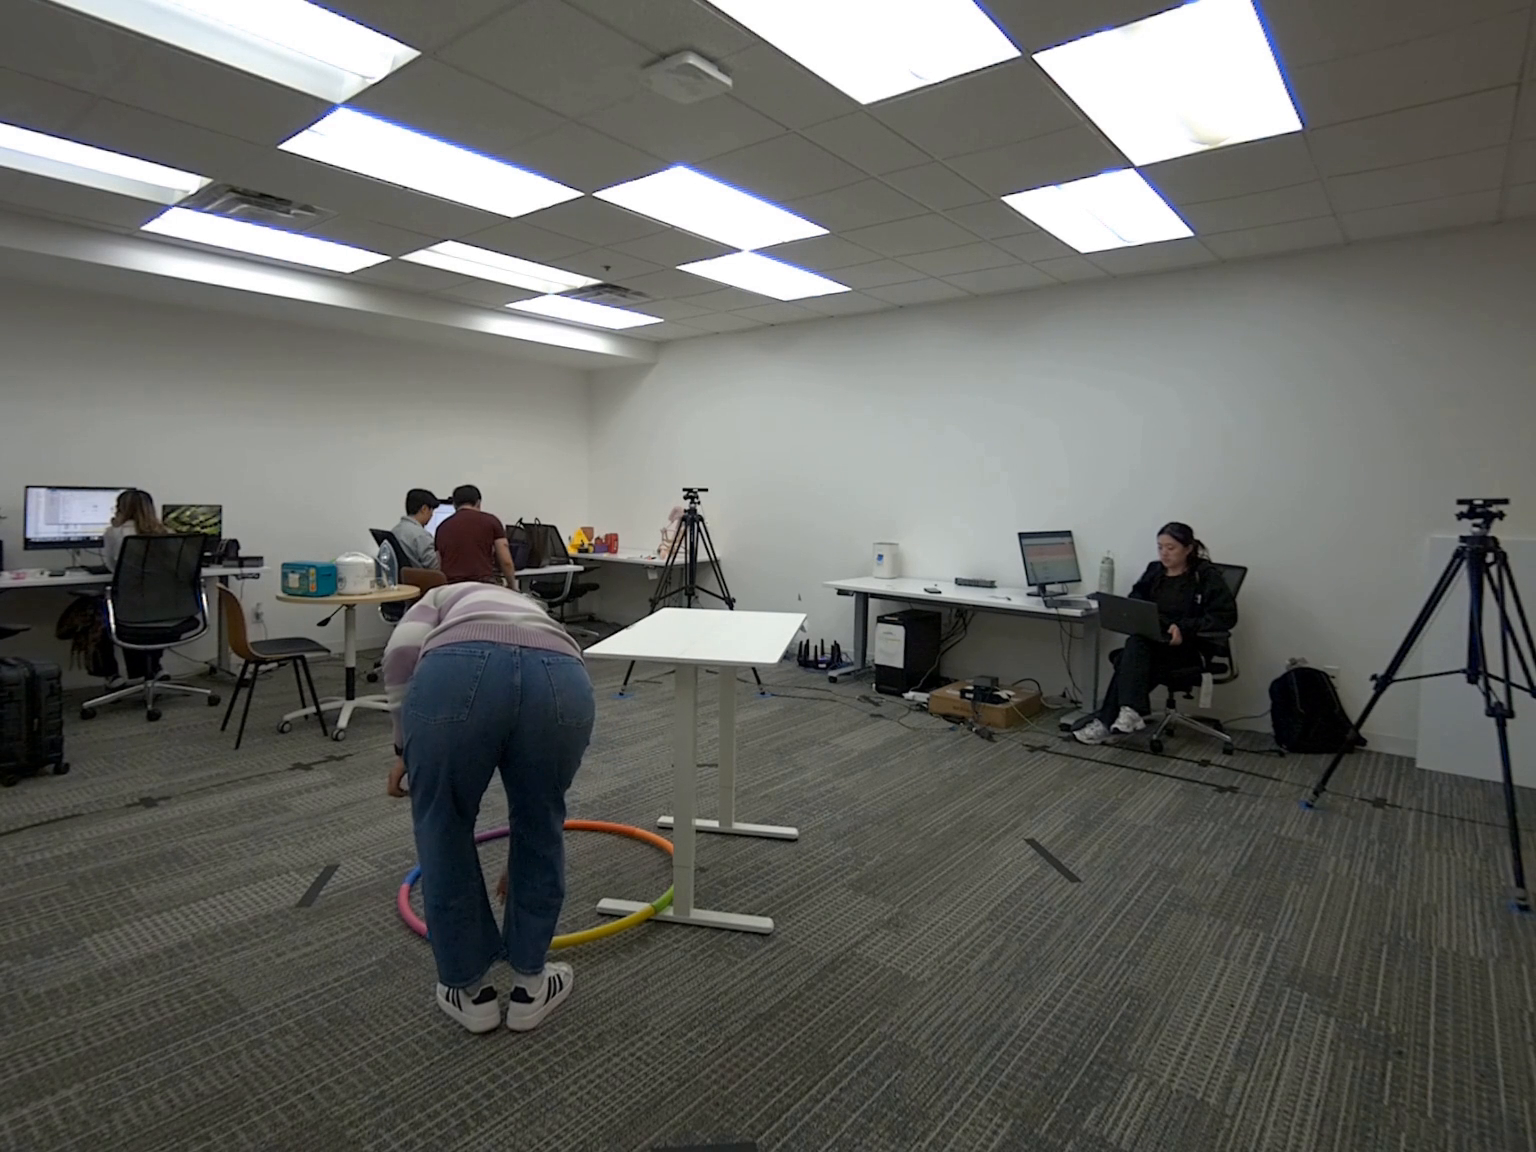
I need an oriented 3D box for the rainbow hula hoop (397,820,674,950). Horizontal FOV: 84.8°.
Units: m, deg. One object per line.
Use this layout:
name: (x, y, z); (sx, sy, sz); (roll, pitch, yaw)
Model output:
rainbow hula hoop: (-0.790, 1.042, 2.980); (0.978, 0.035, 0.983); (-1, 5, -2)
